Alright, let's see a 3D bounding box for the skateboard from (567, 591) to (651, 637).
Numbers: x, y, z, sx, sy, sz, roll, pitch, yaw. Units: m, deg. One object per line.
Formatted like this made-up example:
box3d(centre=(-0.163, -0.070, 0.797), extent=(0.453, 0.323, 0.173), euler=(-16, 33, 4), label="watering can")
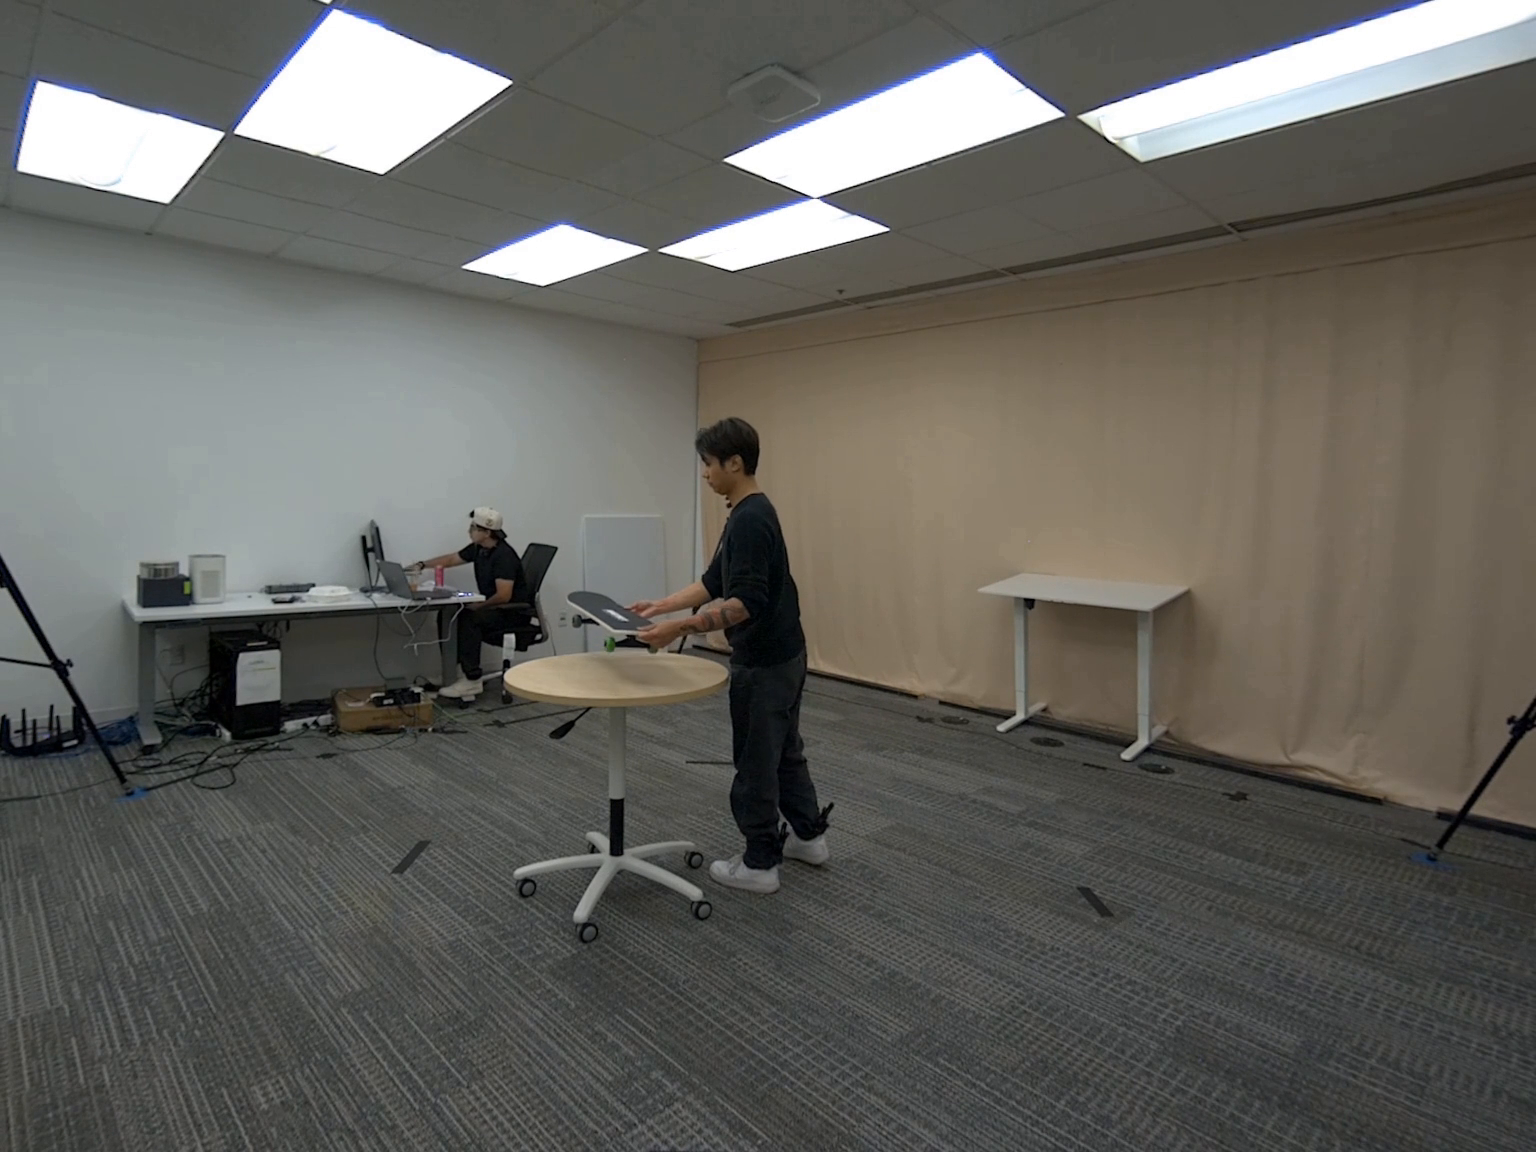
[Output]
box3d(centre=(-0.543, 0.182, 2.982), extent=(0.189, 0.110, 0.805), euler=(4, 7, -29), label="skateboard")
